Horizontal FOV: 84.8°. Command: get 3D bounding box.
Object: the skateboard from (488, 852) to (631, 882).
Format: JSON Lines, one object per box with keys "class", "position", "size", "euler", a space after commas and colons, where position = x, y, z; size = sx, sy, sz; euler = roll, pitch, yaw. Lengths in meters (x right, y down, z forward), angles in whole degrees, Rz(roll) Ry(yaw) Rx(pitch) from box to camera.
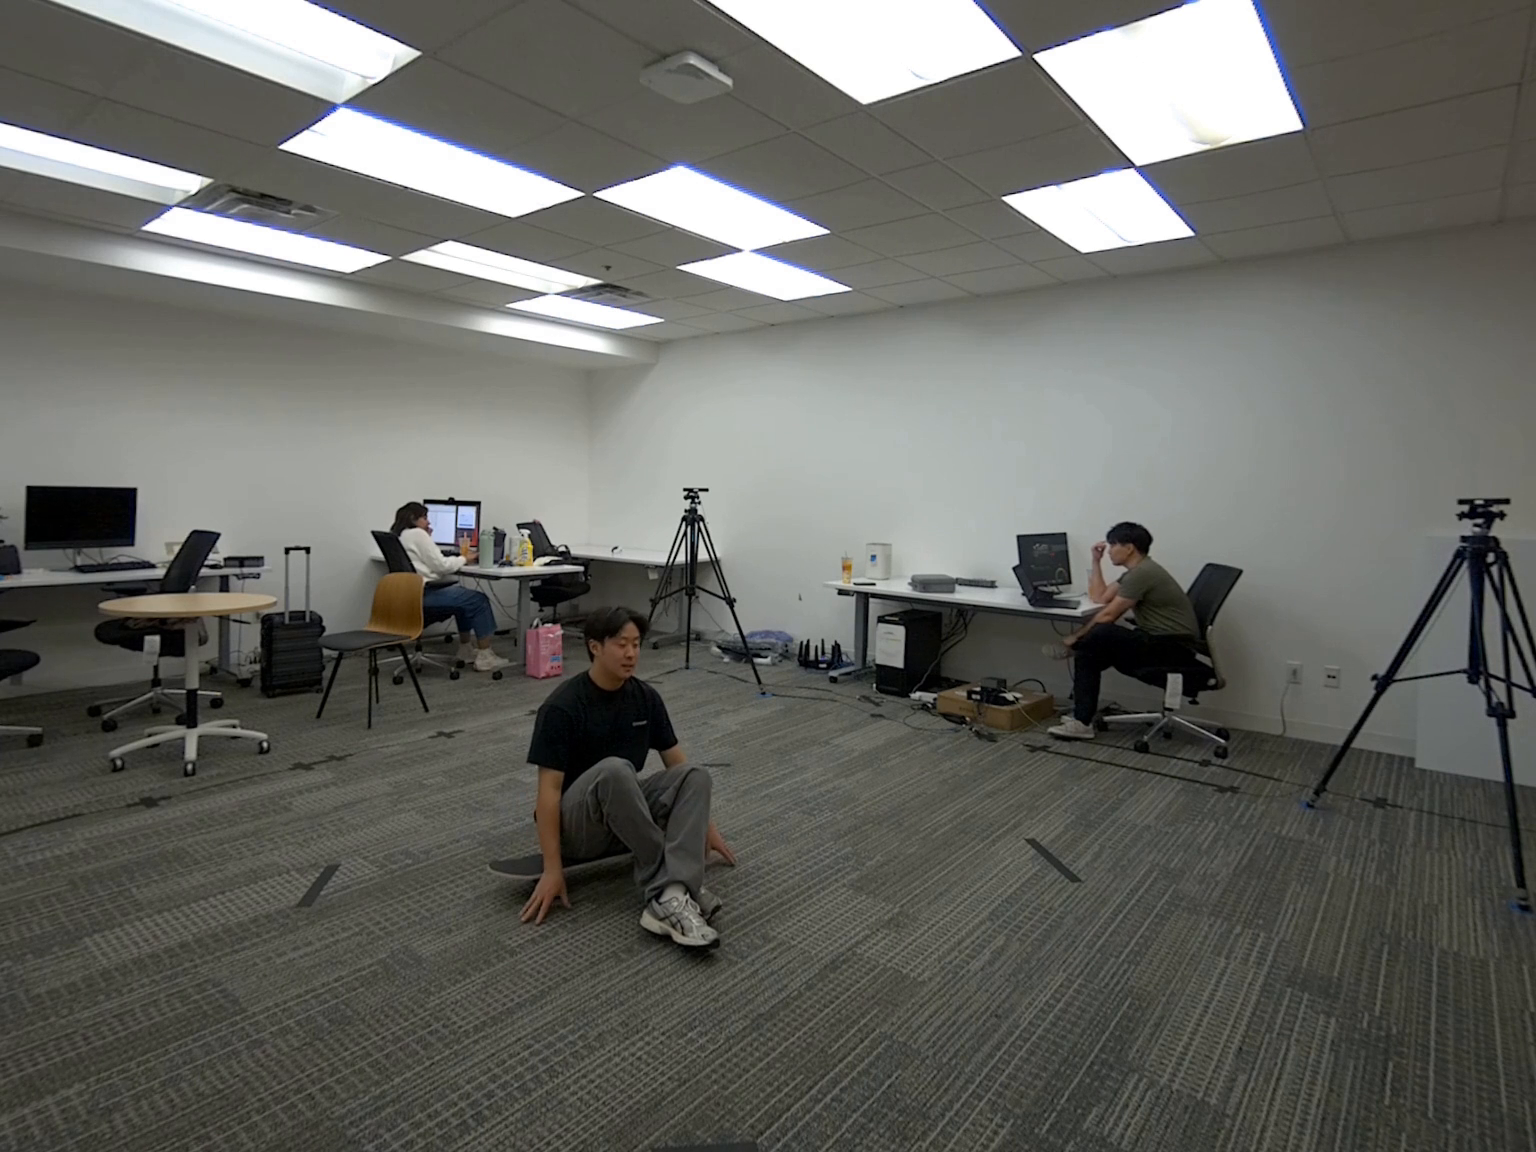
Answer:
{"class": "skateboard", "position": [-0.615, 1.014, 3.049], "size": [0.763, 0.110, 0.198], "euler": [-2, -1, -33]}
